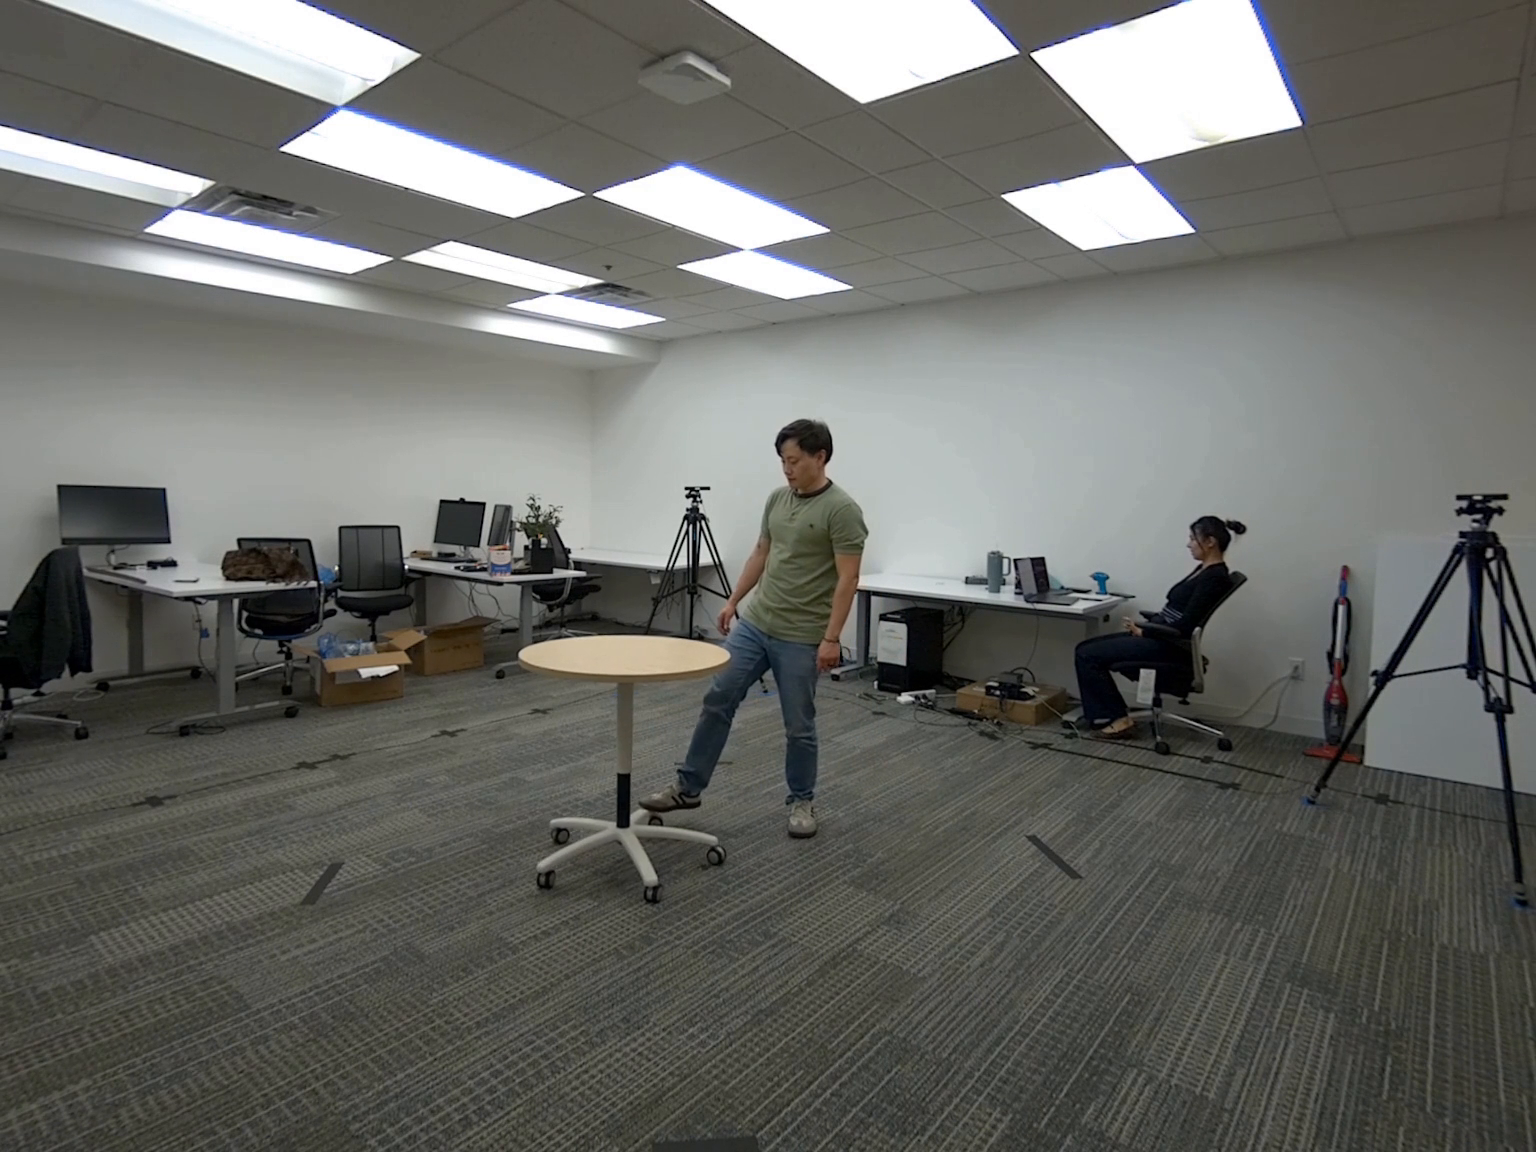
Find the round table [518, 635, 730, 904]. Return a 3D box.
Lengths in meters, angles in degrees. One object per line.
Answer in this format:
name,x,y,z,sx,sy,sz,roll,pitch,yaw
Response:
round table,-0.540,0.671,3.113,0.763,0.792,0.767,1,4,-2
